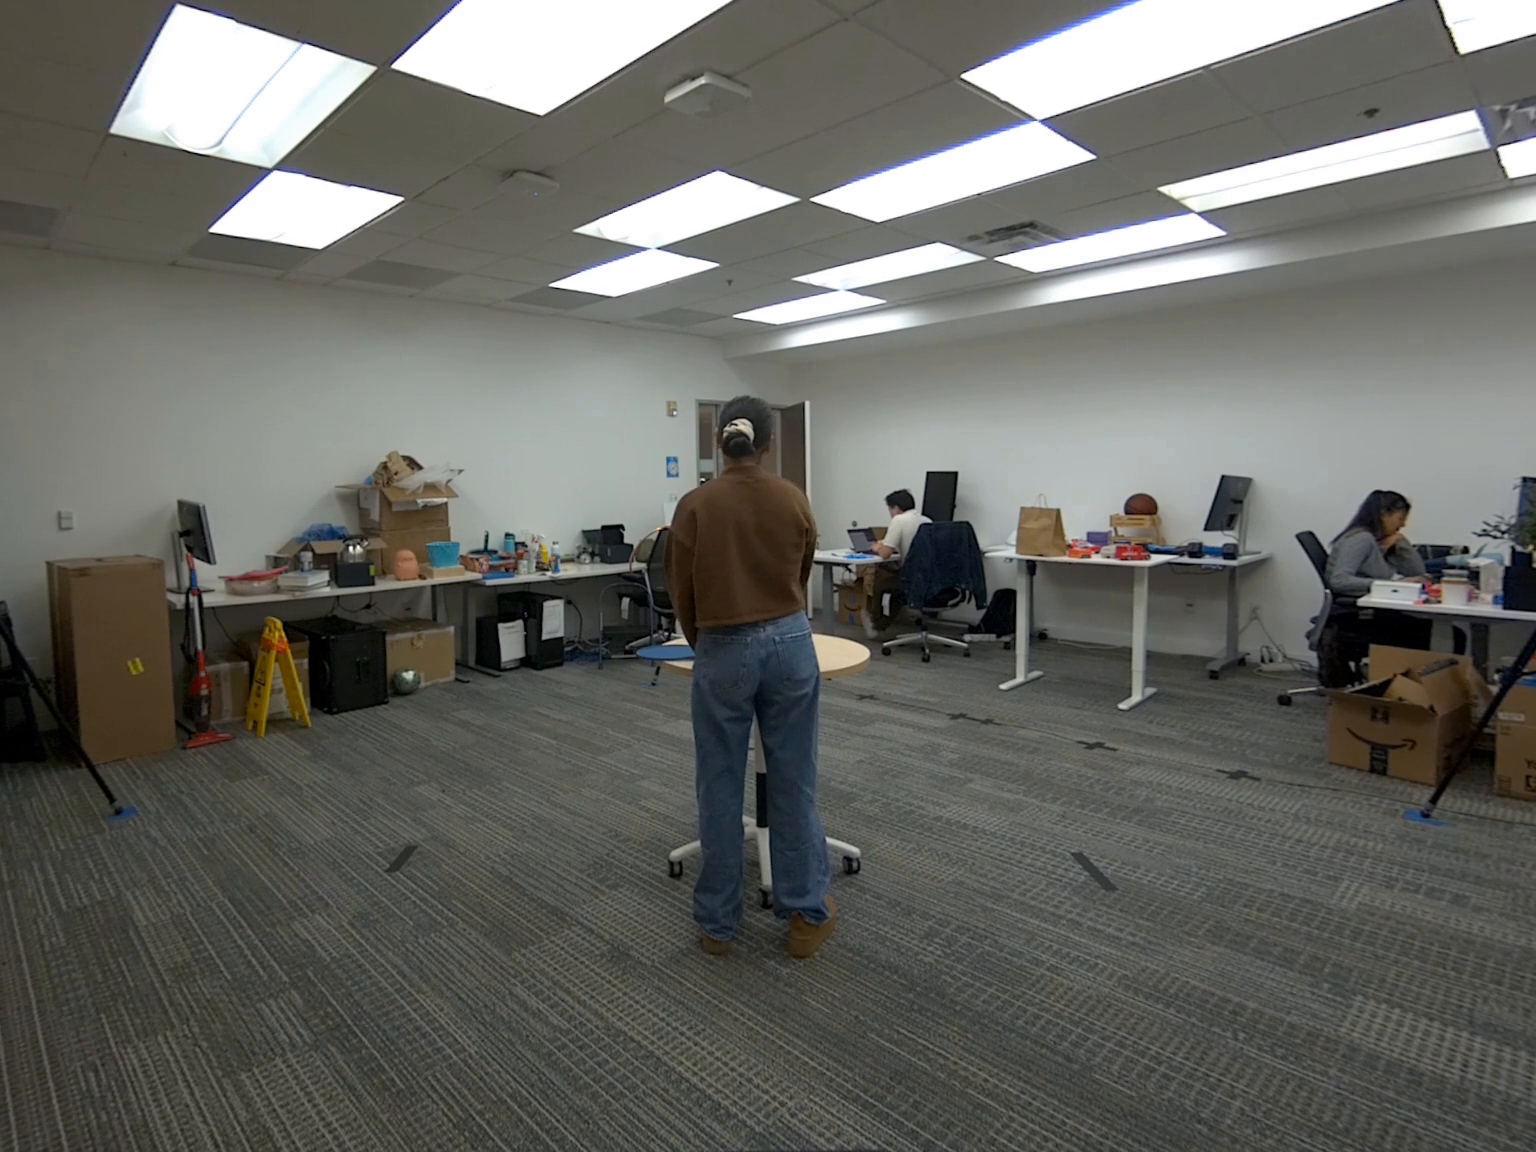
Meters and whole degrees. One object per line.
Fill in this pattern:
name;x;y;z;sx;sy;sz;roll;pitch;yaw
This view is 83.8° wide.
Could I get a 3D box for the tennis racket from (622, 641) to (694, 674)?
tennis racket;-0.281;0.278;2.940;0.446;0.031;0.208;4;9;43
